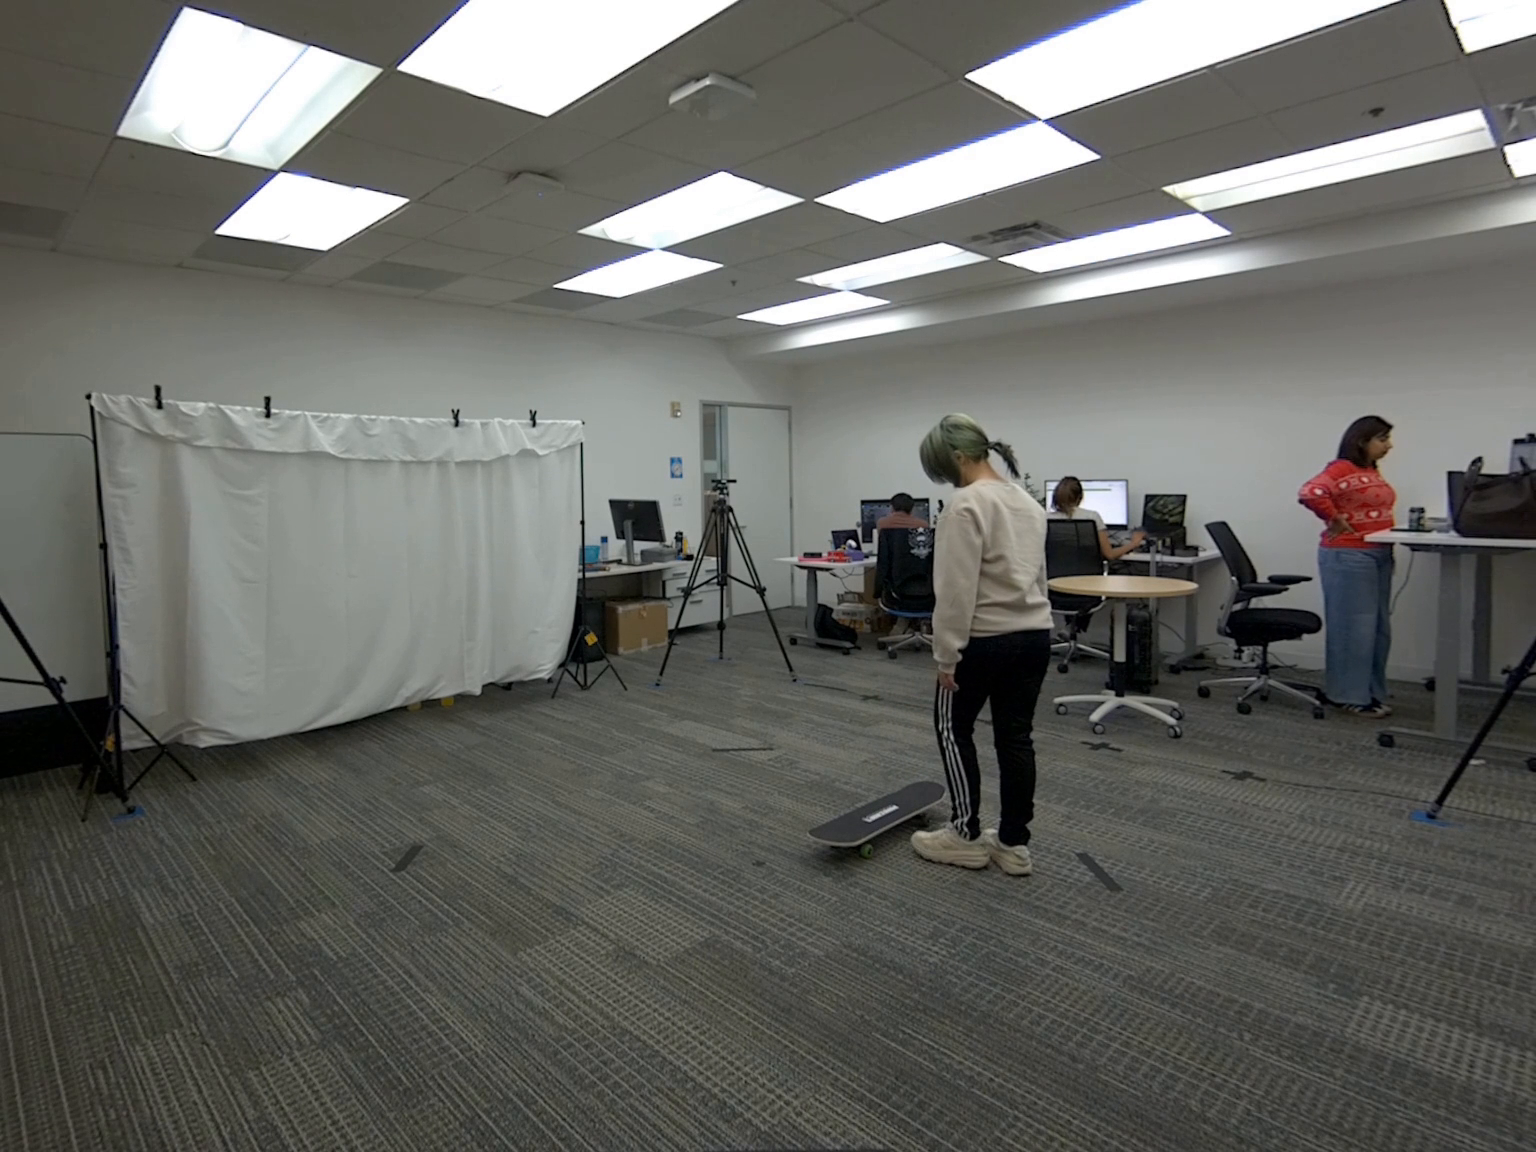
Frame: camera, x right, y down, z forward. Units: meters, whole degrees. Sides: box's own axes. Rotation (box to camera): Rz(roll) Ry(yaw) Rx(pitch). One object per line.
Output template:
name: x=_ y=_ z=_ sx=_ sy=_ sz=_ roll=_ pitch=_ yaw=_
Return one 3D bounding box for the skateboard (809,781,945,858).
skateboard: x=0.441 y=0.956 z=3.335 sx=0.199 sy=0.110 sz=0.765 roll=3 pitch=7 yaw=44
